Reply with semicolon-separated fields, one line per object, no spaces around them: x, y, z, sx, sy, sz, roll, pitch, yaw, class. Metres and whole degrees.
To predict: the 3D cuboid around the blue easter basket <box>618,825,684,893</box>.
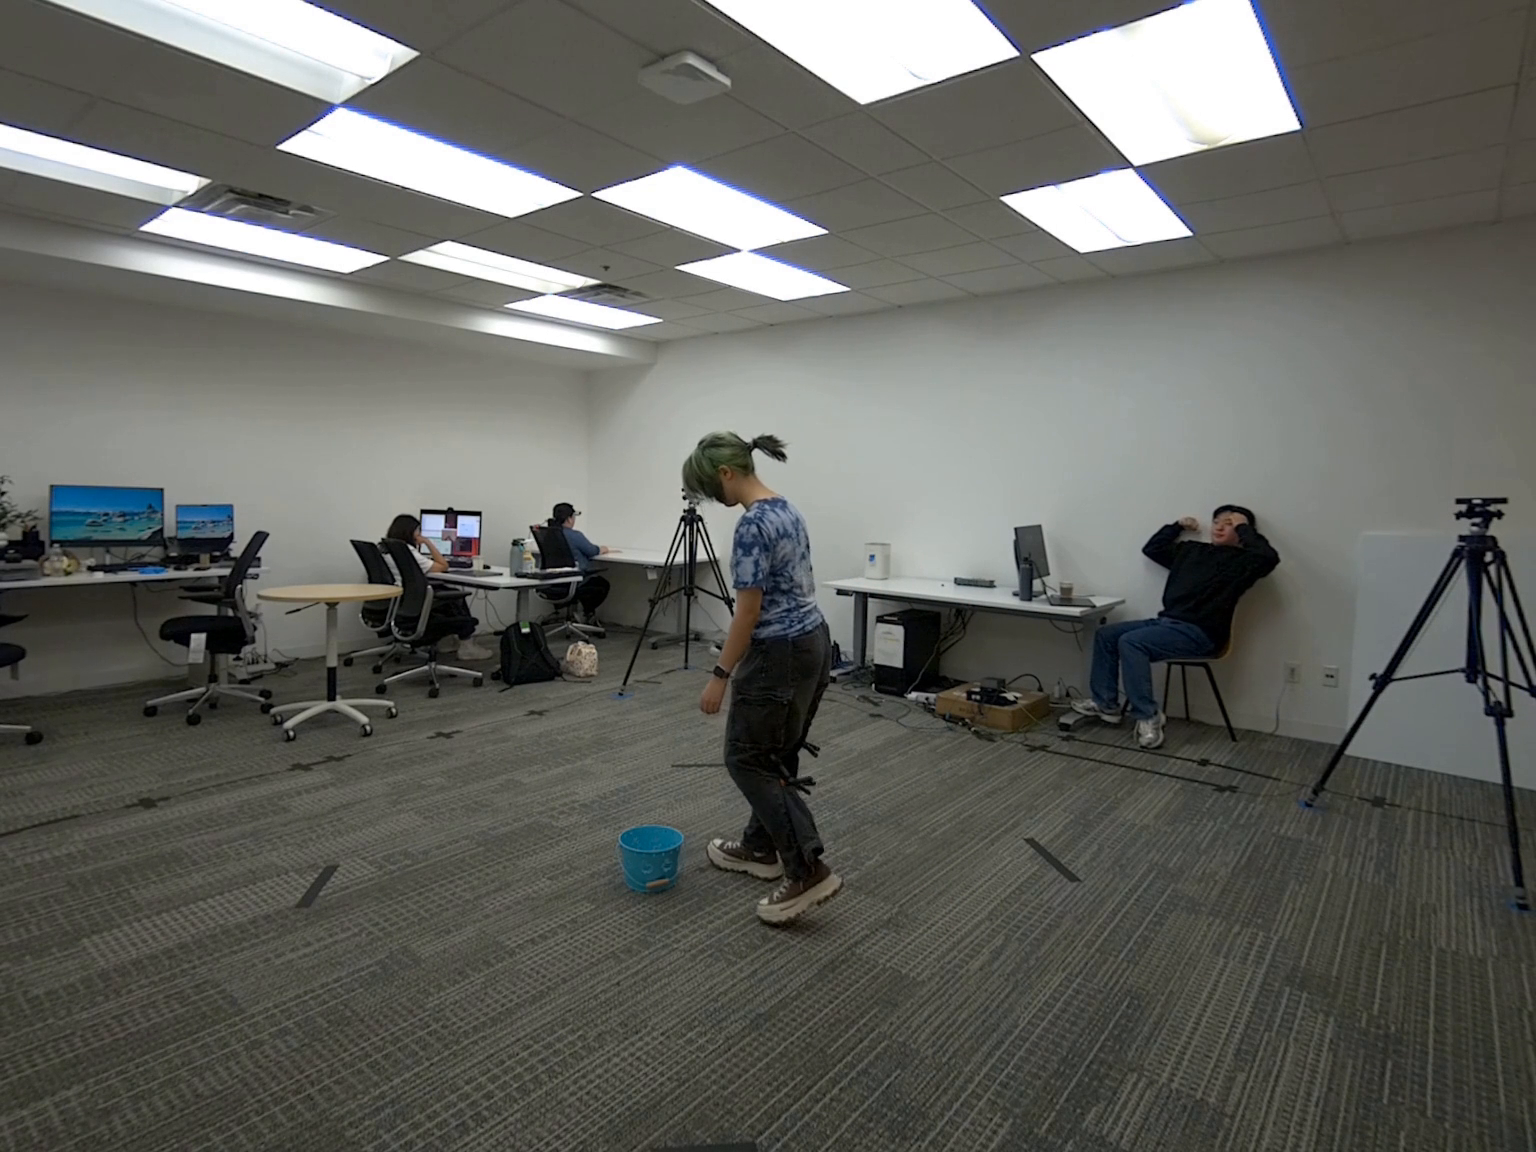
-0.430;1.001;3.002;0.243;0.155;0.245;0;5;-2;blue easter basket
